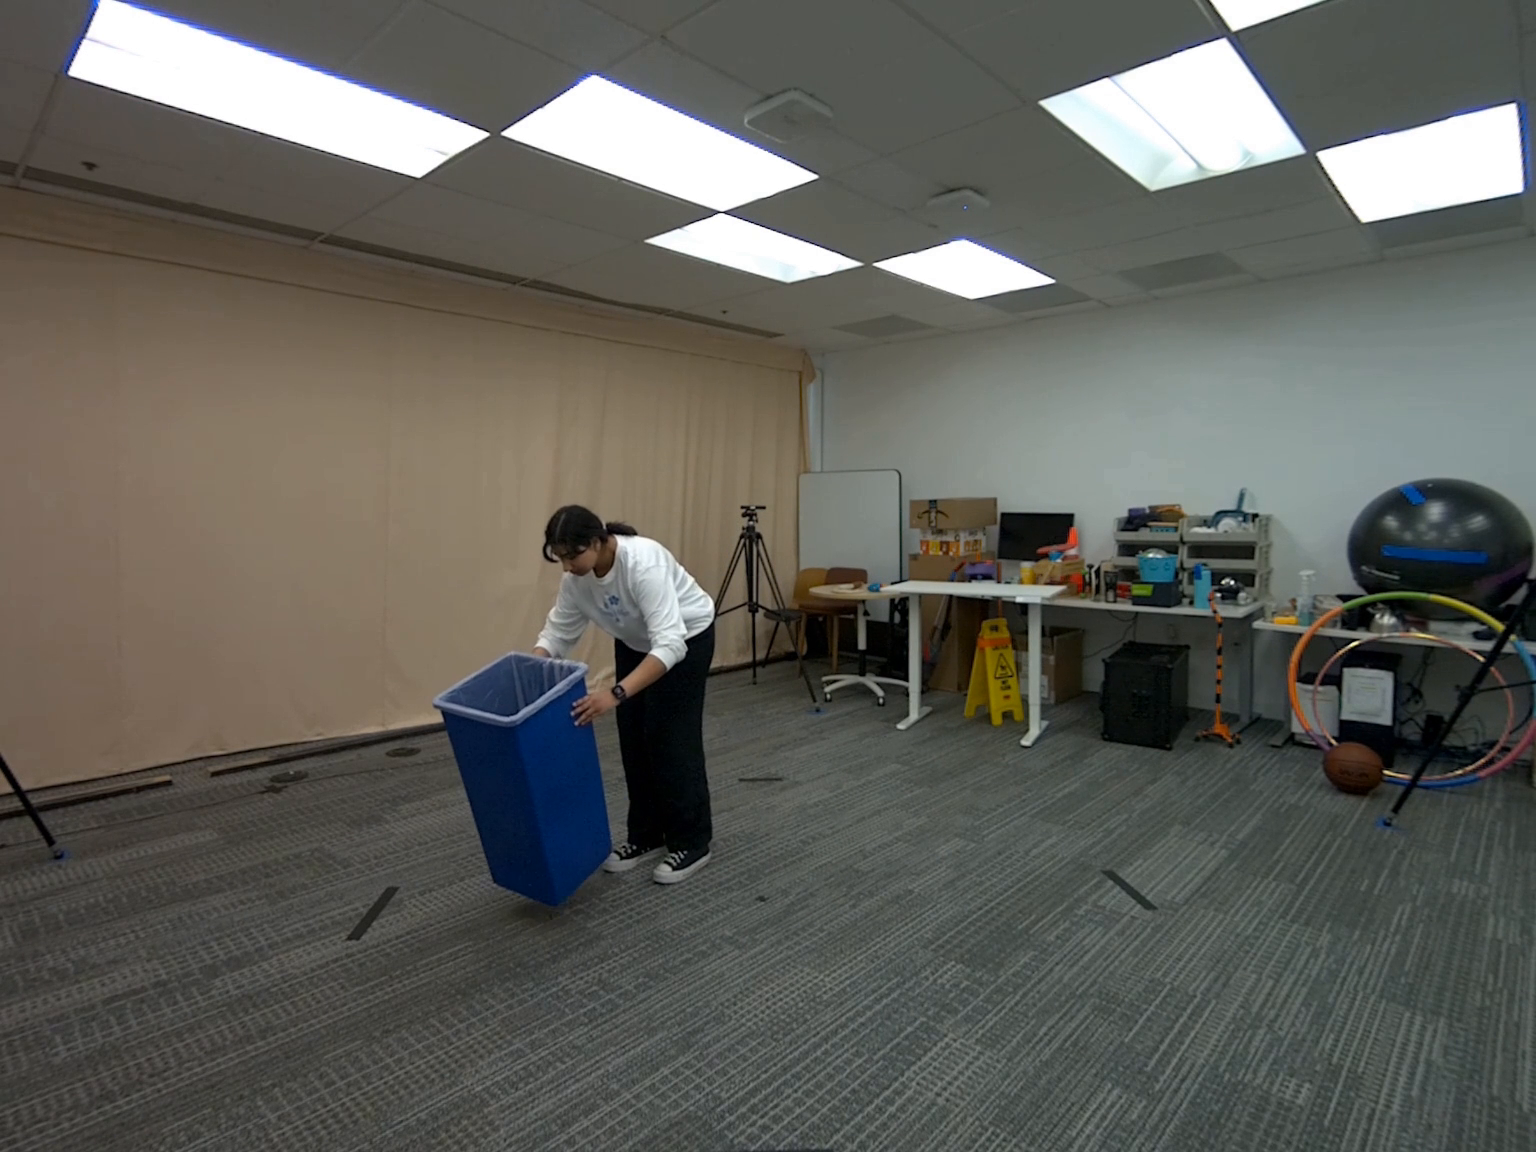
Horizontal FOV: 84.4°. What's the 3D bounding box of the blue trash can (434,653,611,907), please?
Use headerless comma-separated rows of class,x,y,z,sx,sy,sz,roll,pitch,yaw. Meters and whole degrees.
blue trash can,-0.774,0.671,2.772,0.389,0.704,0.368,4,20,30
